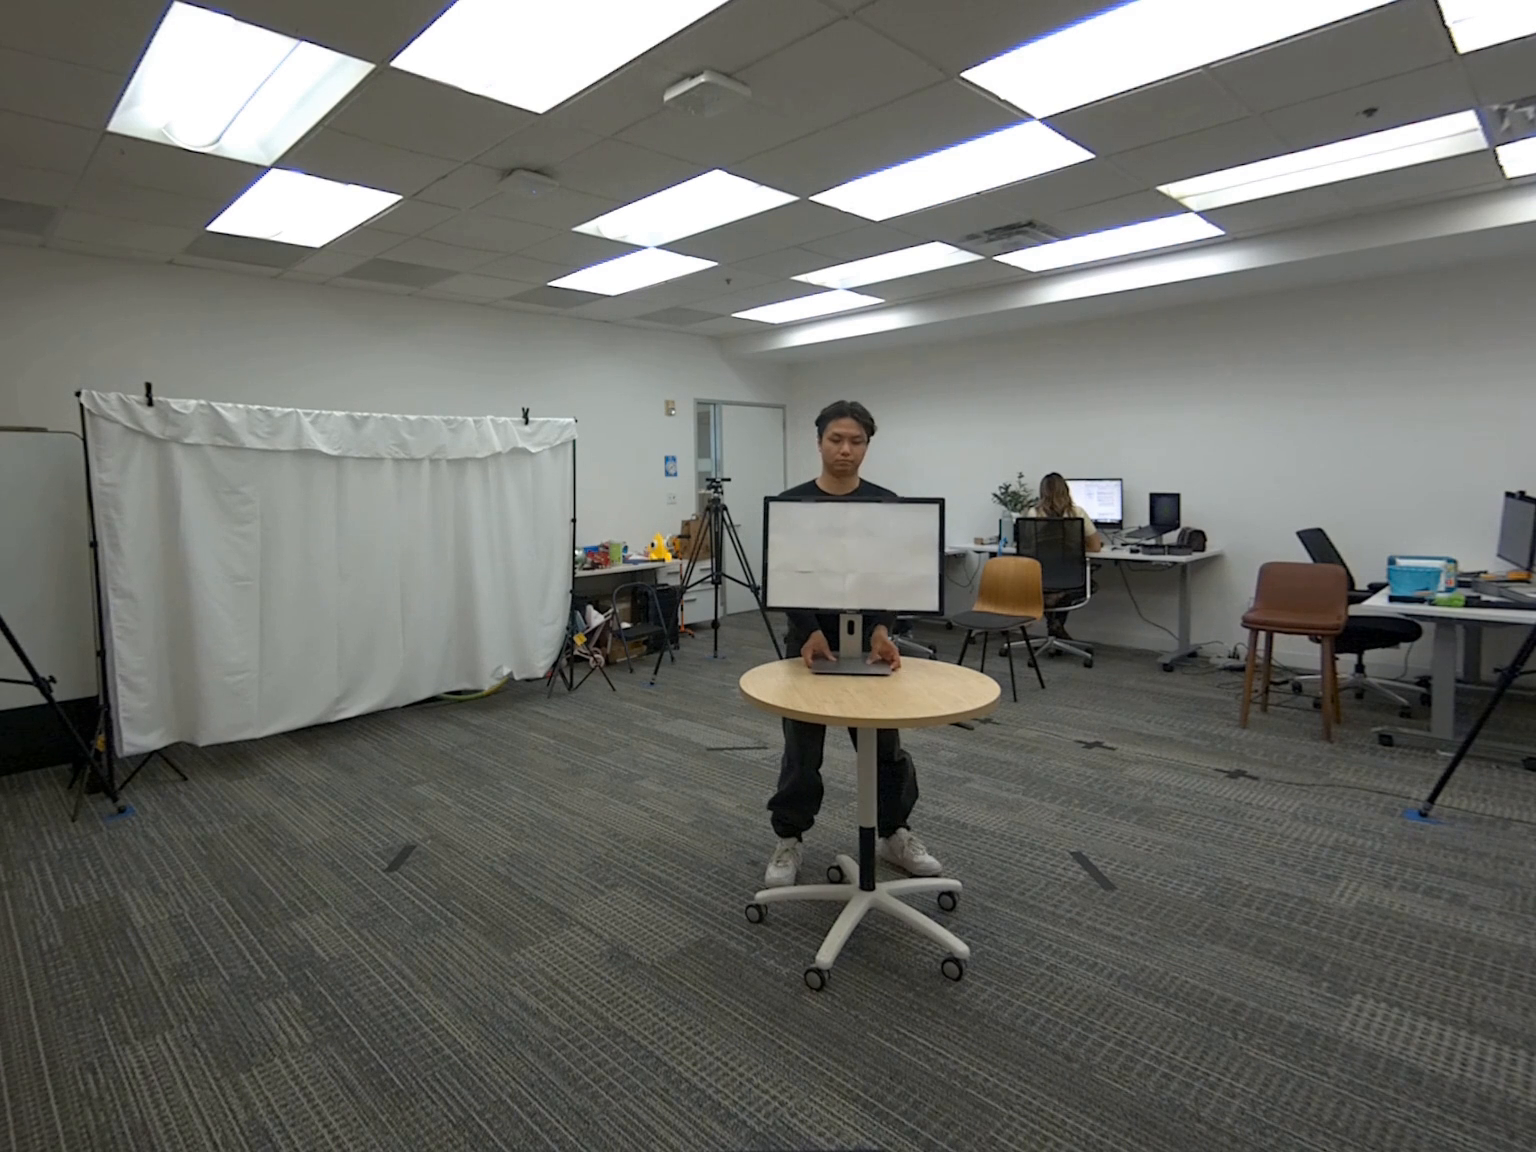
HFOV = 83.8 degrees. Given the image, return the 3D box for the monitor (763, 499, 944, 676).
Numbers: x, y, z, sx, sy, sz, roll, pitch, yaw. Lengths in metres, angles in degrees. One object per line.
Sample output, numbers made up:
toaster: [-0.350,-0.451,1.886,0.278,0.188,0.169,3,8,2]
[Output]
monitor: [0.268,0.027,2.704,0.542,0.518,0.187,1,8,5]
